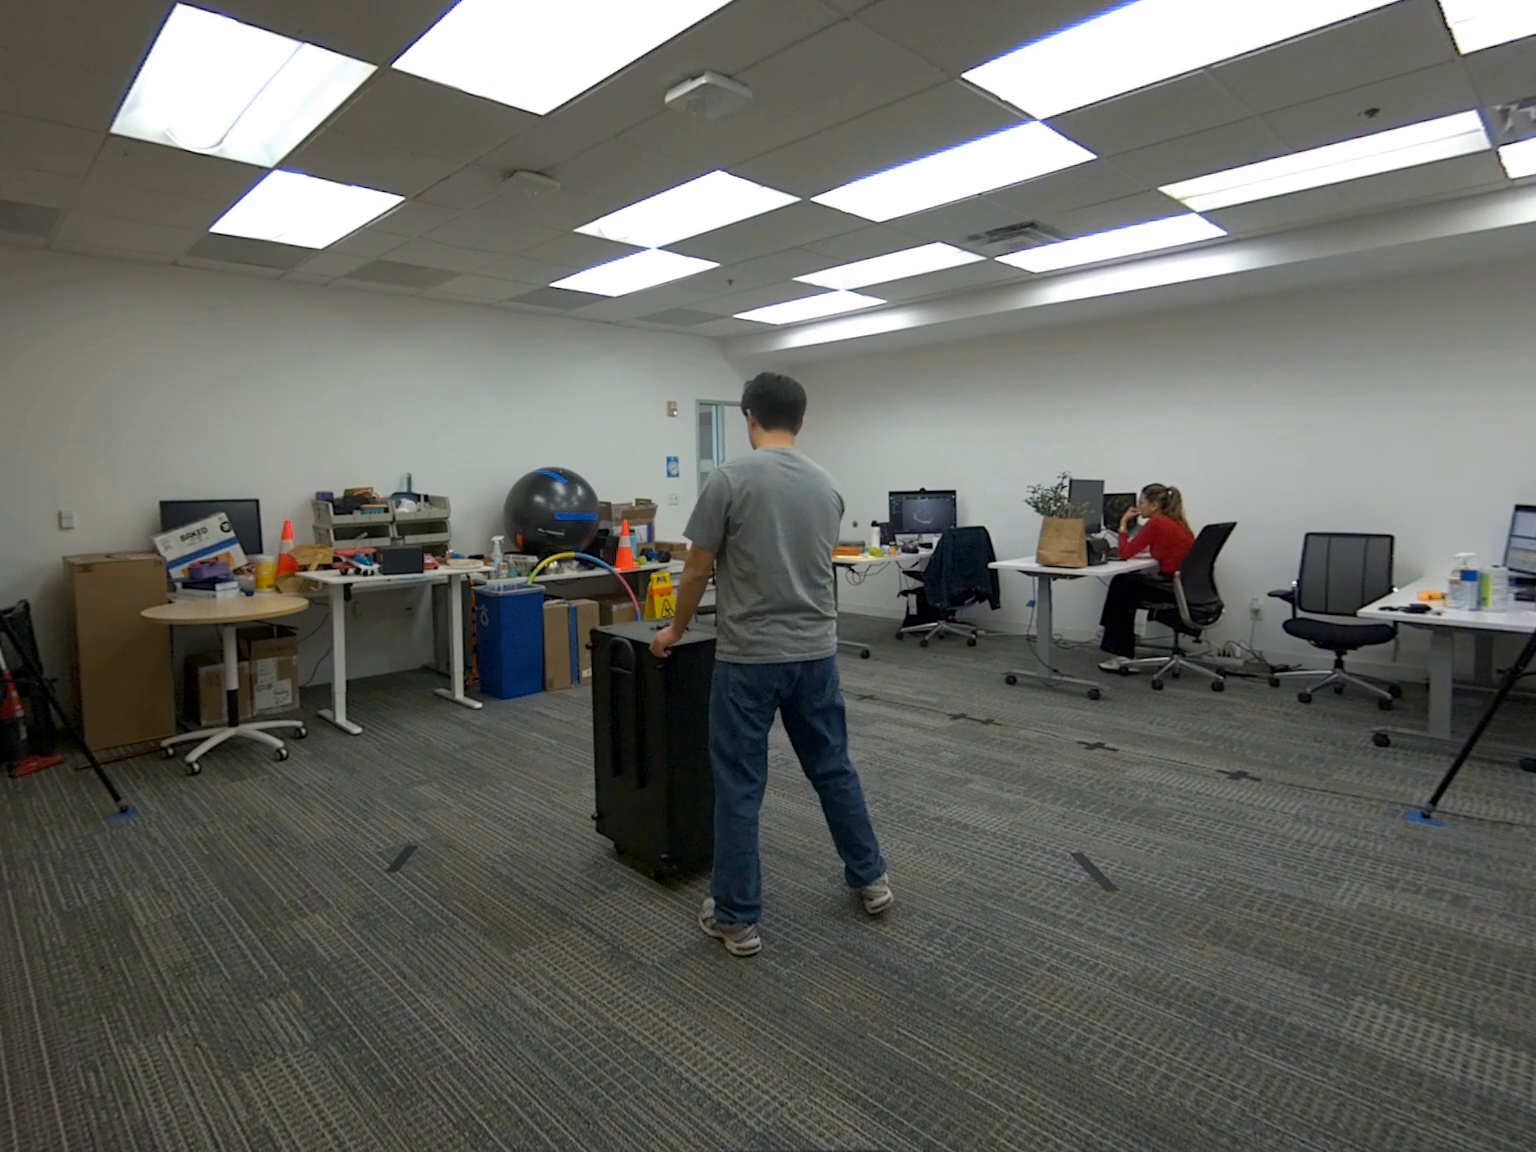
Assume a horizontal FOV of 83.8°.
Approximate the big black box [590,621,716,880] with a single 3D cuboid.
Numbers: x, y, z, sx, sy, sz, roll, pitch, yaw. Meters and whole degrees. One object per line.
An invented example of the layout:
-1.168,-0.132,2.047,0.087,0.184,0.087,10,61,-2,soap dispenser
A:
-0.370,0.623,3.131,0.386,0.857,0.537,-6,7,-40,big black box
